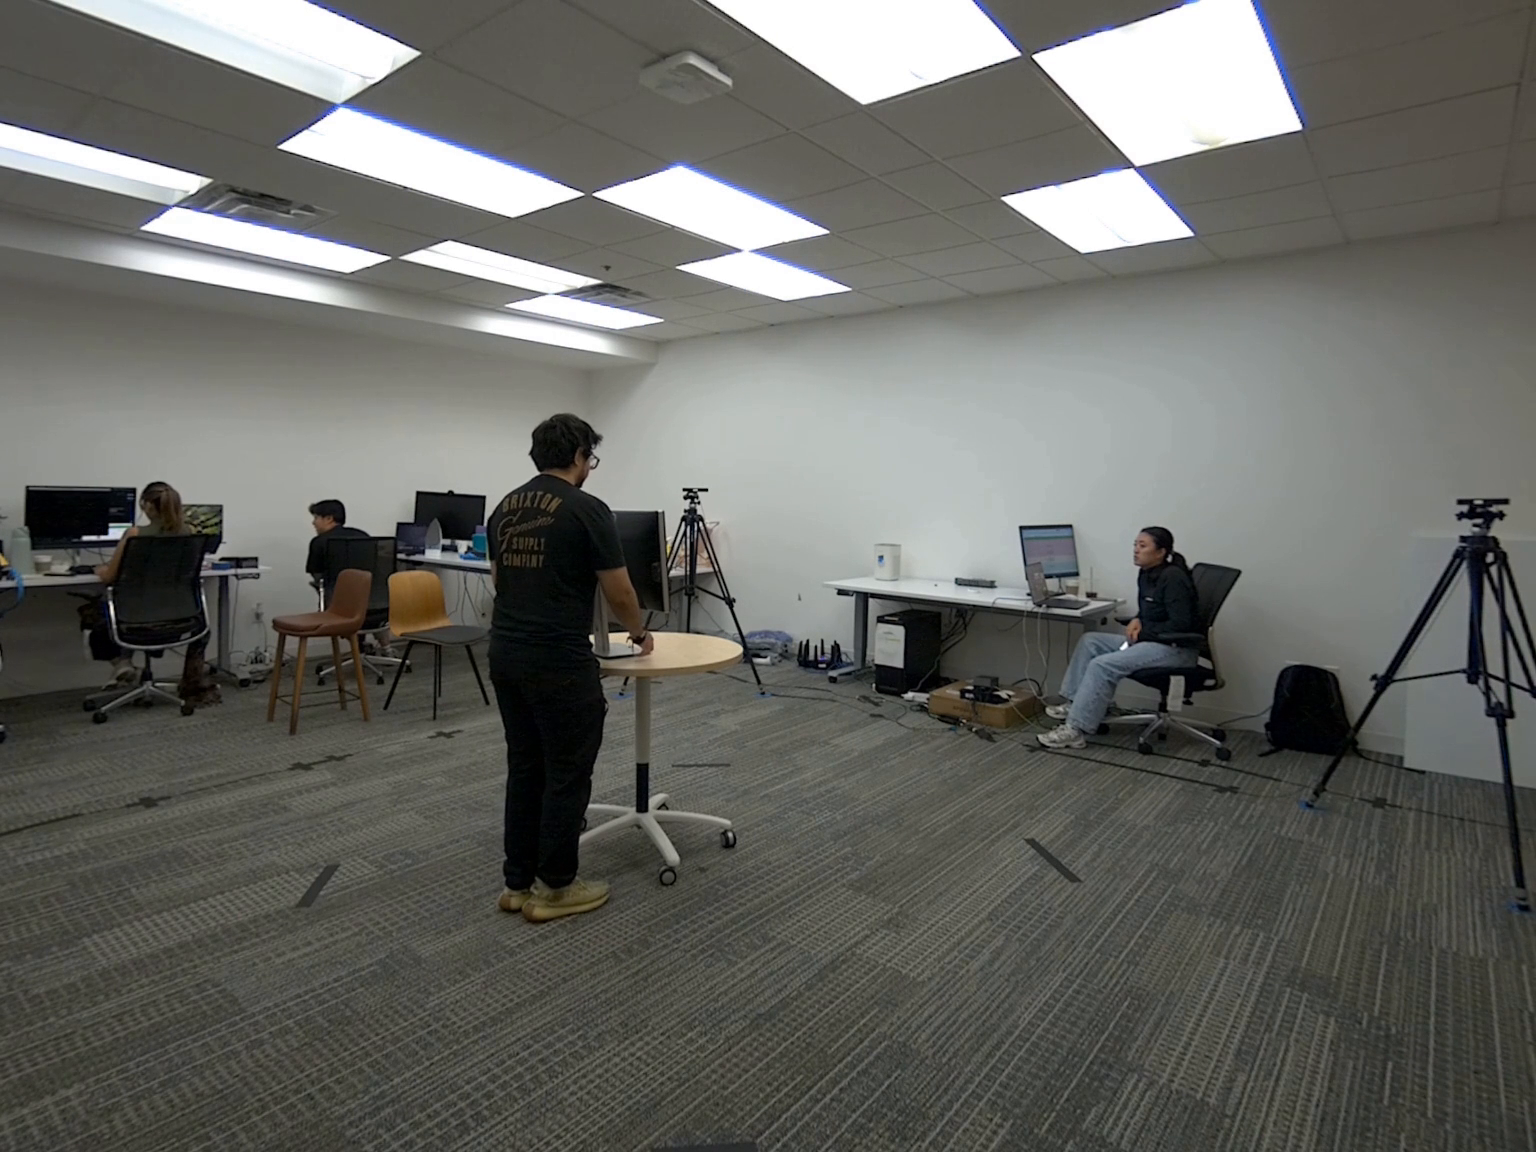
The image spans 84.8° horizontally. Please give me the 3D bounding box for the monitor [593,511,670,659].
[{"bbox_3d":[-0.614,0.021,3.154,0.204,0.552,0.584,-4,6,-42],"label":"monitor"}]
